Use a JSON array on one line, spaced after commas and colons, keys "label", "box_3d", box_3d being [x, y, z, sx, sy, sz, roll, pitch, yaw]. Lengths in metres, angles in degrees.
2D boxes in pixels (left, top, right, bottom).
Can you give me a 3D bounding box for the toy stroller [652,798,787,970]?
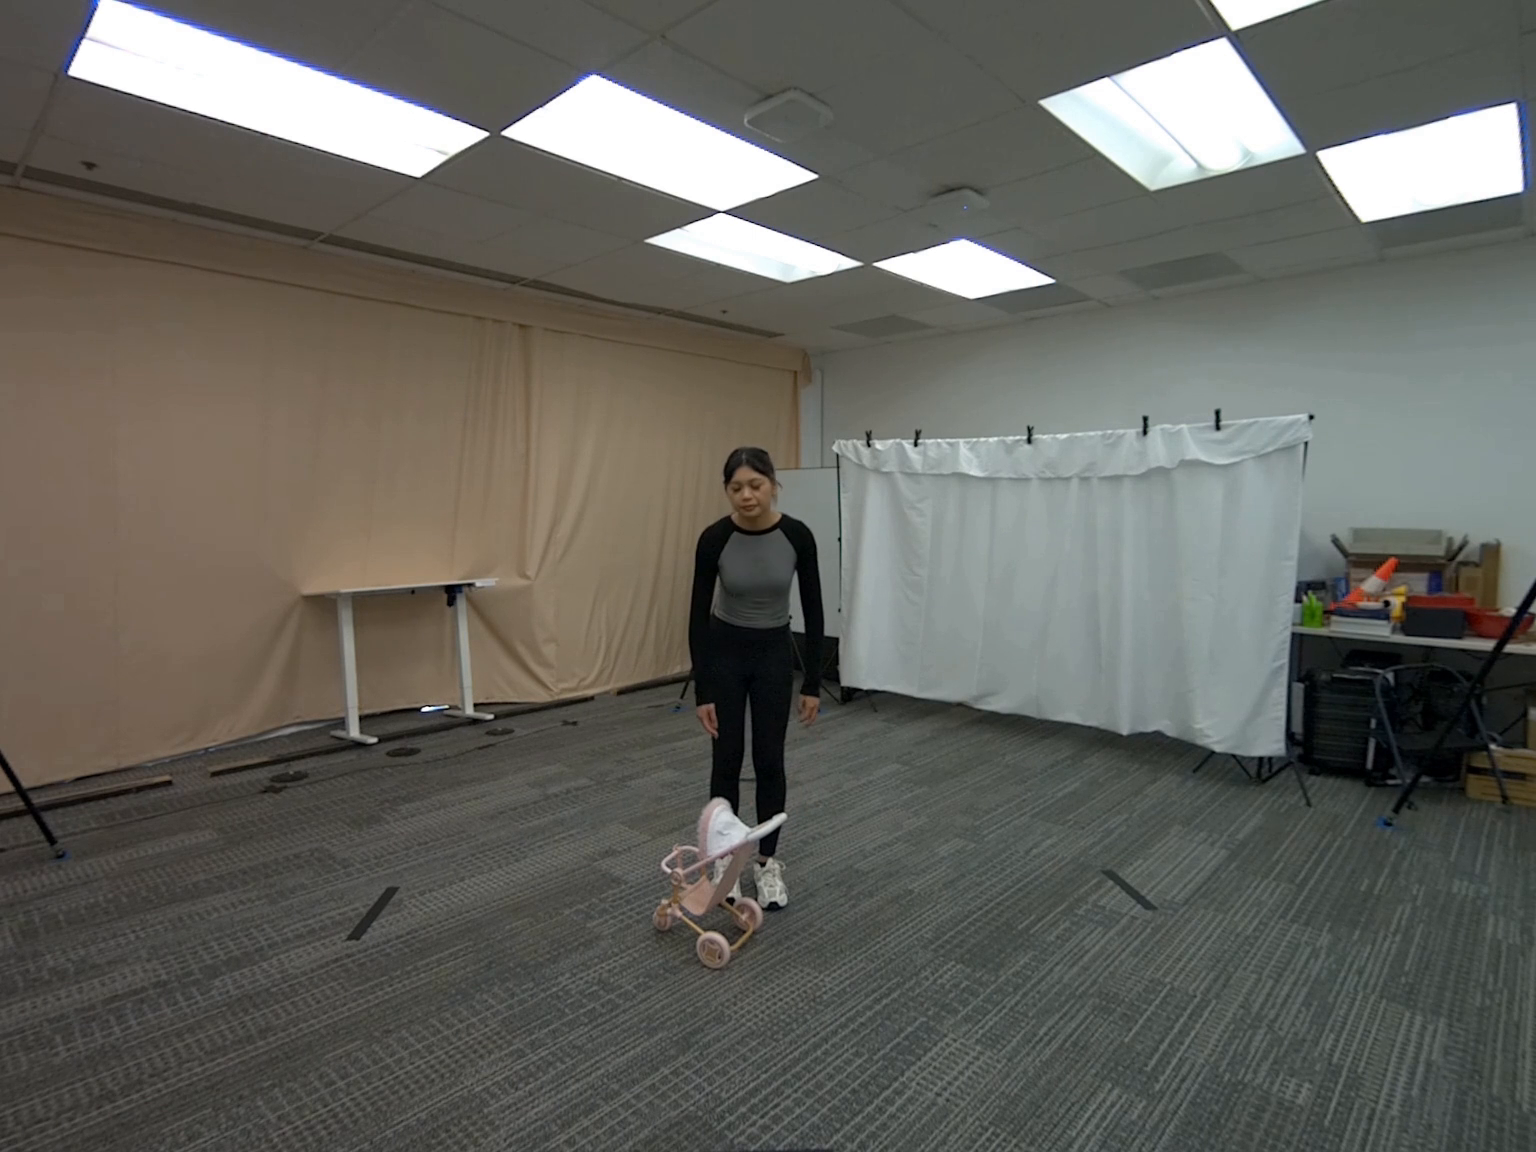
[{"label": "toy stroller", "box_3d": [-0.173, 0.945, 2.671, 0.352, 0.533, 0.274, 19, 11, 27]}]
